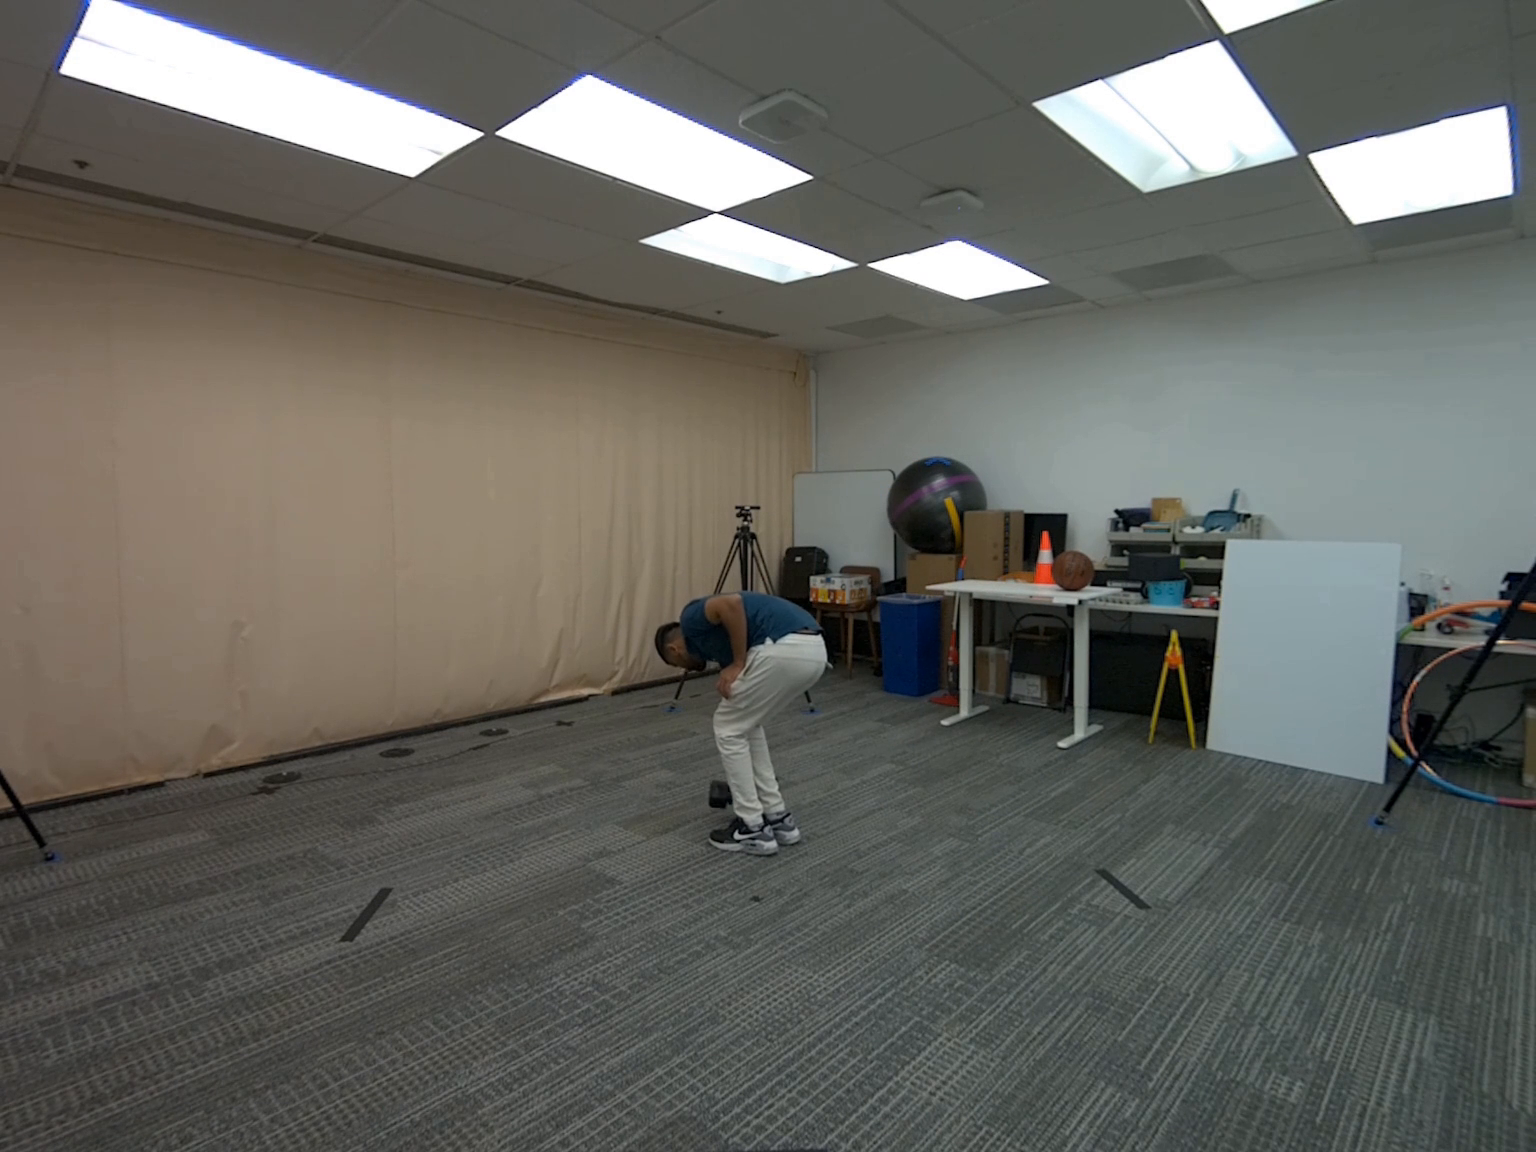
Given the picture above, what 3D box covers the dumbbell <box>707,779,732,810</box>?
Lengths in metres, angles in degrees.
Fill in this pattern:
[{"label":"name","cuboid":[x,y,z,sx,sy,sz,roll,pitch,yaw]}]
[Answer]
[{"label":"dumbbell","cuboid":[-0.113,0.961,3.724,0.292,0.125,0.107,6,-32,-3]}]
